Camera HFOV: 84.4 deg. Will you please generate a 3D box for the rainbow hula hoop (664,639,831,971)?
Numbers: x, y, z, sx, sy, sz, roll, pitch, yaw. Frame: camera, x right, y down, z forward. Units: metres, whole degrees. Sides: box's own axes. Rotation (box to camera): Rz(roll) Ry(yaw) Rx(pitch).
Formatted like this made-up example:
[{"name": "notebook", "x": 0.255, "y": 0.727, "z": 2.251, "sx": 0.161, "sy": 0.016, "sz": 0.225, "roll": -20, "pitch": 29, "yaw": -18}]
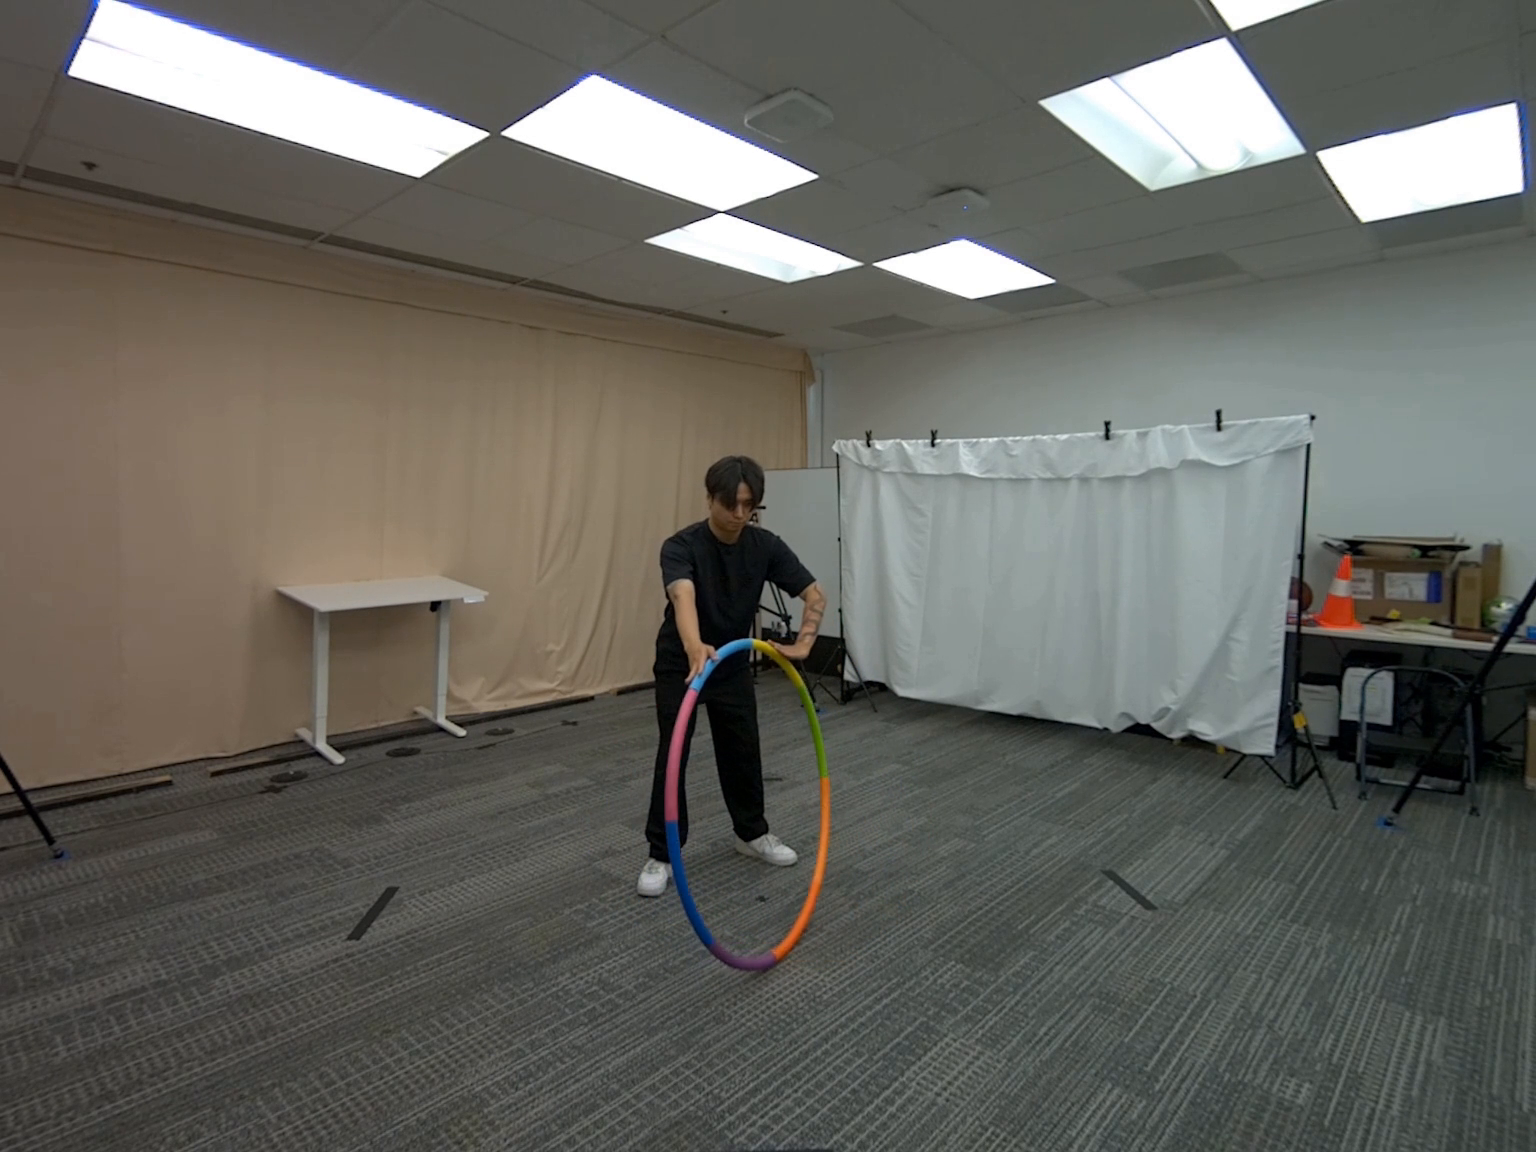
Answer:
[{"name": "rainbow hula hoop", "x": -0.018, "y": 0.696, "z": 2.635, "sx": 0.036, "sy": 0.980, "sz": 0.953, "roll": -9, "pitch": -1, "yaw": 29}]
